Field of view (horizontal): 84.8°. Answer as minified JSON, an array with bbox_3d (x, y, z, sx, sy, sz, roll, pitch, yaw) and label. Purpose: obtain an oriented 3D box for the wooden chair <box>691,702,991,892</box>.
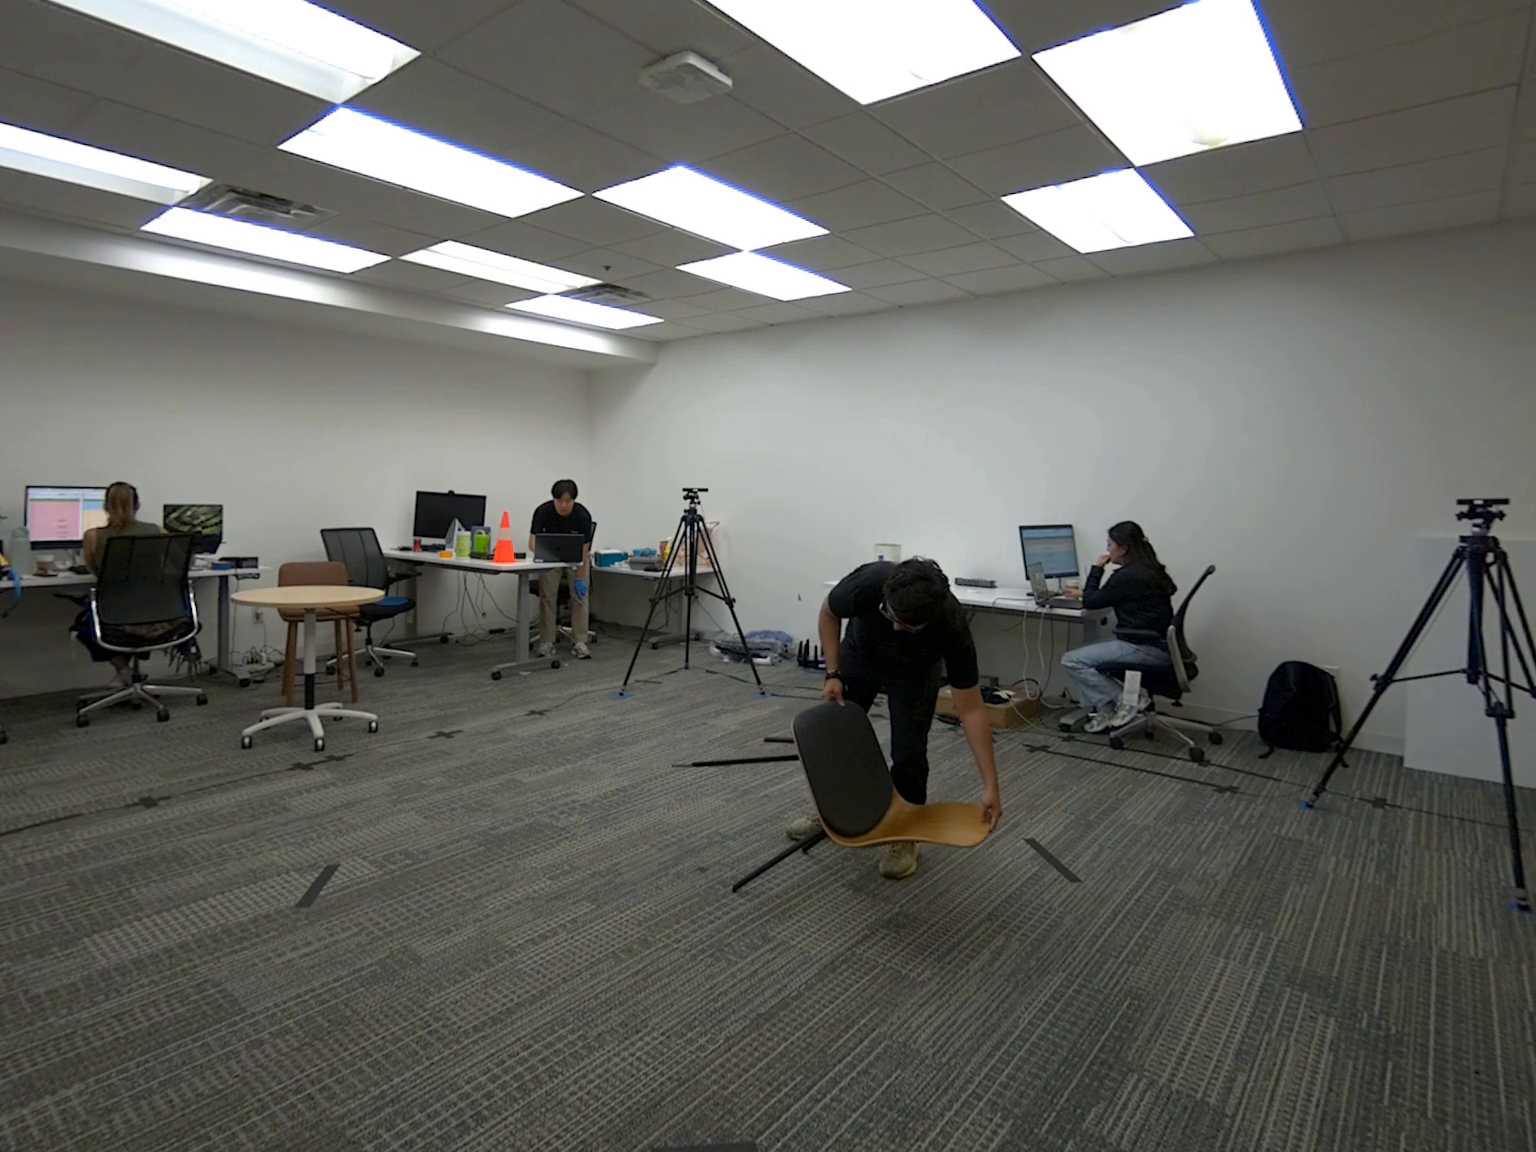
[{"bbox_3d":[0.239,0.707,2.907,0.892,0.530,0.464,-22,-12,36],"label":"wooden chair"}]
